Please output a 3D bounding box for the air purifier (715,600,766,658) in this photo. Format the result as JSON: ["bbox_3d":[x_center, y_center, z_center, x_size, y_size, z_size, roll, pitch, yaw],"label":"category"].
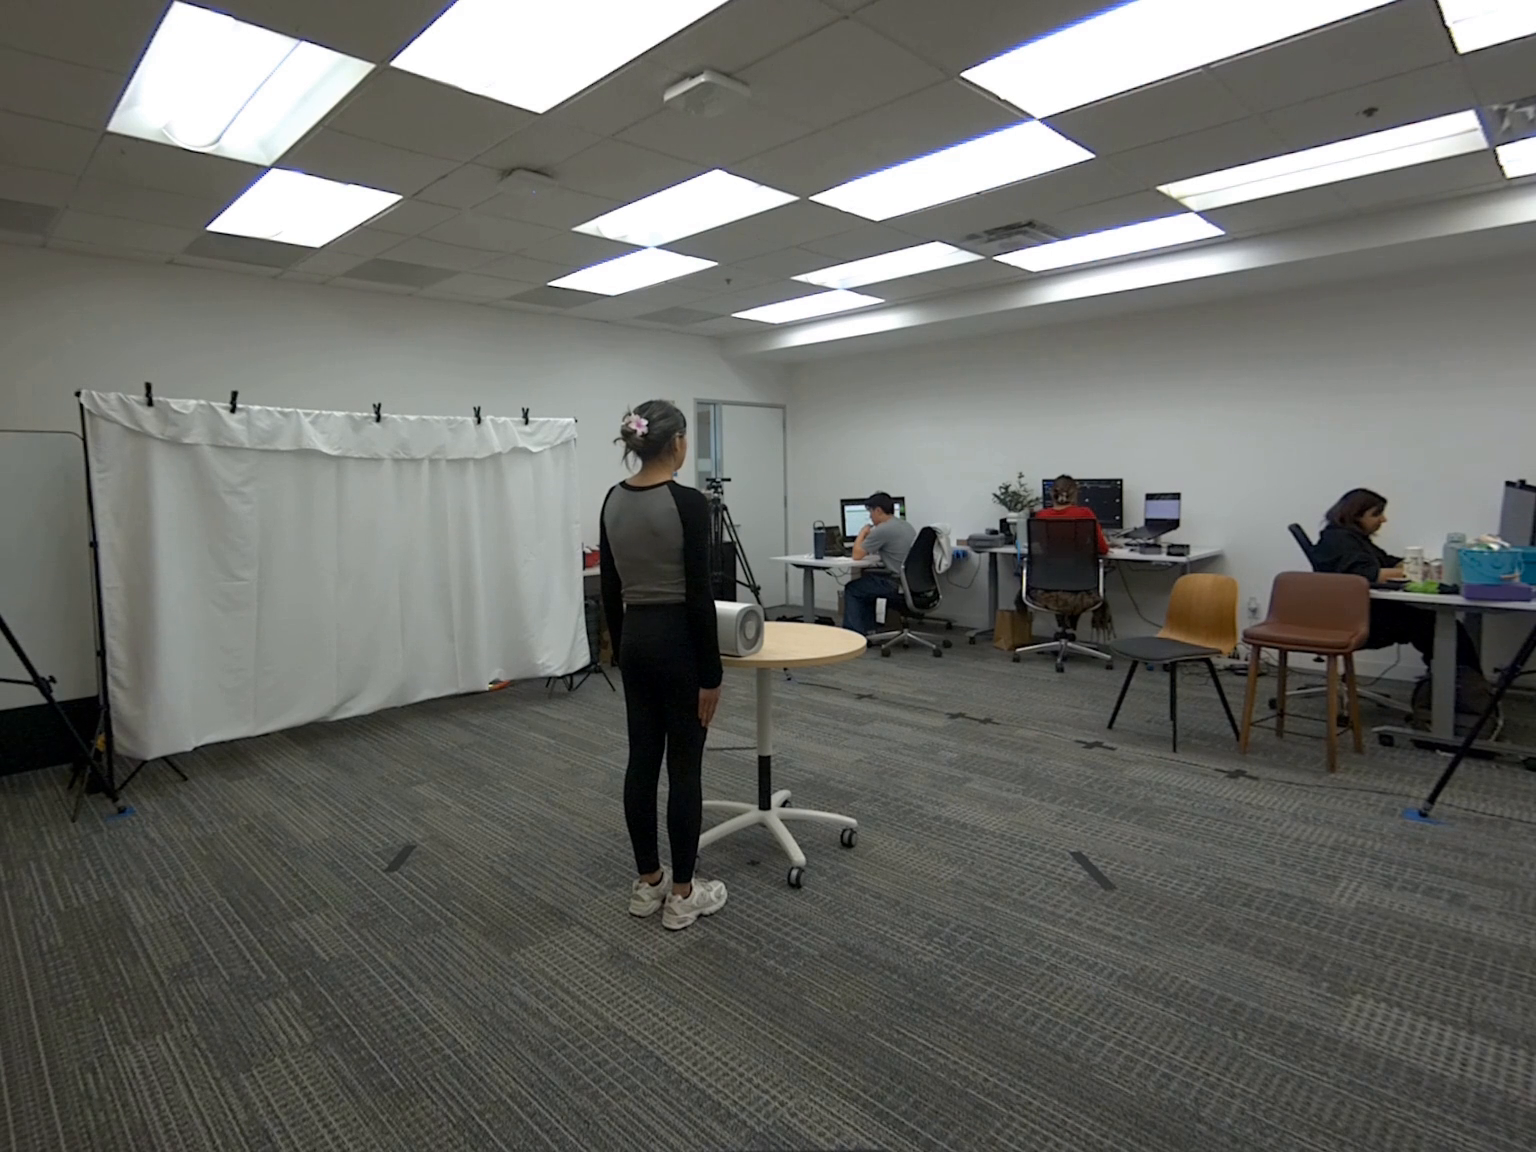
[{"bbox_3d":[-0.166,0.175,2.981,0.273,0.171,0.167,3,7,34],"label":"air purifier"}]
